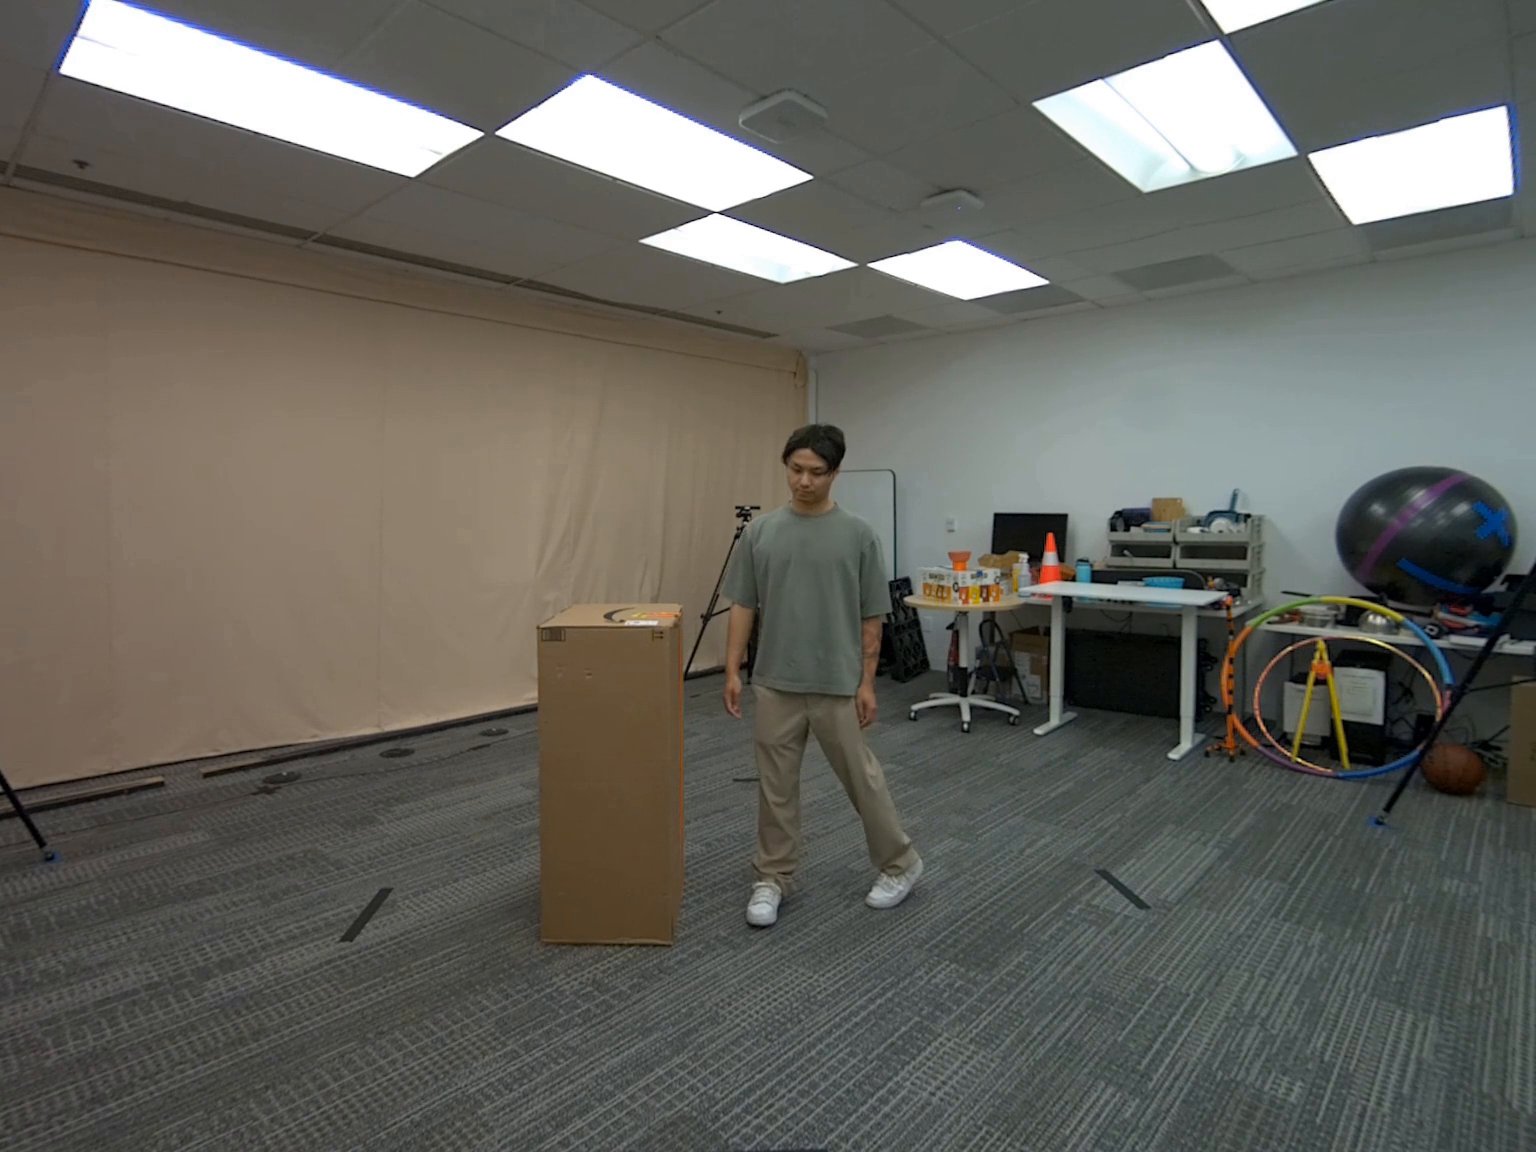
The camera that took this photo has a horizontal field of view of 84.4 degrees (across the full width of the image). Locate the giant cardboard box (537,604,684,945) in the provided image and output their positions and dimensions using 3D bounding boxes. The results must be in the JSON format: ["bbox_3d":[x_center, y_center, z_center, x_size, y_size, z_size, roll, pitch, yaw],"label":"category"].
[{"bbox_3d":[-0.525,0.645,2.928,0.426,1.024,0.579,-1,3,-2],"label":"giant cardboard box"}]
